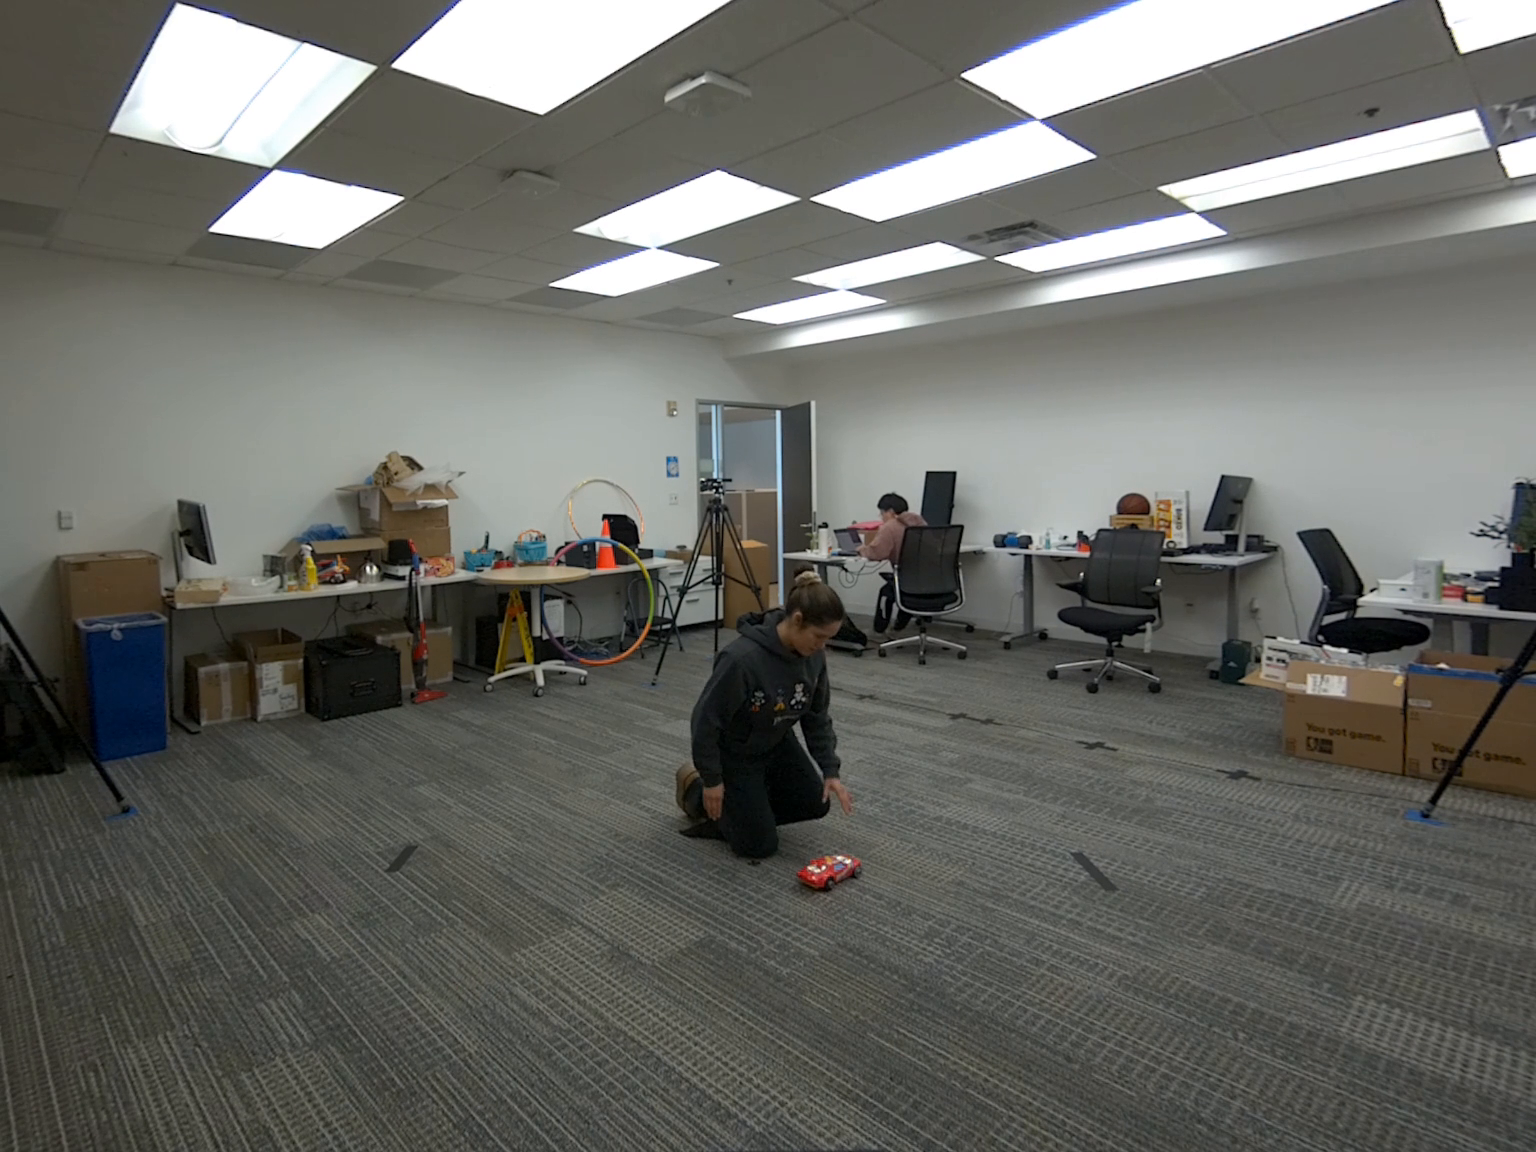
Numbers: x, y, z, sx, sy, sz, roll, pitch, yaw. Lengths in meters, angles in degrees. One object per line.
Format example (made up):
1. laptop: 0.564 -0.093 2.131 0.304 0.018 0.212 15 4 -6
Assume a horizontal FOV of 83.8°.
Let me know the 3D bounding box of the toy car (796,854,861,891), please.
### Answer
1. toy car: 0.209 1.027 2.946 0.246 0.083 0.134 9 -2 -41
